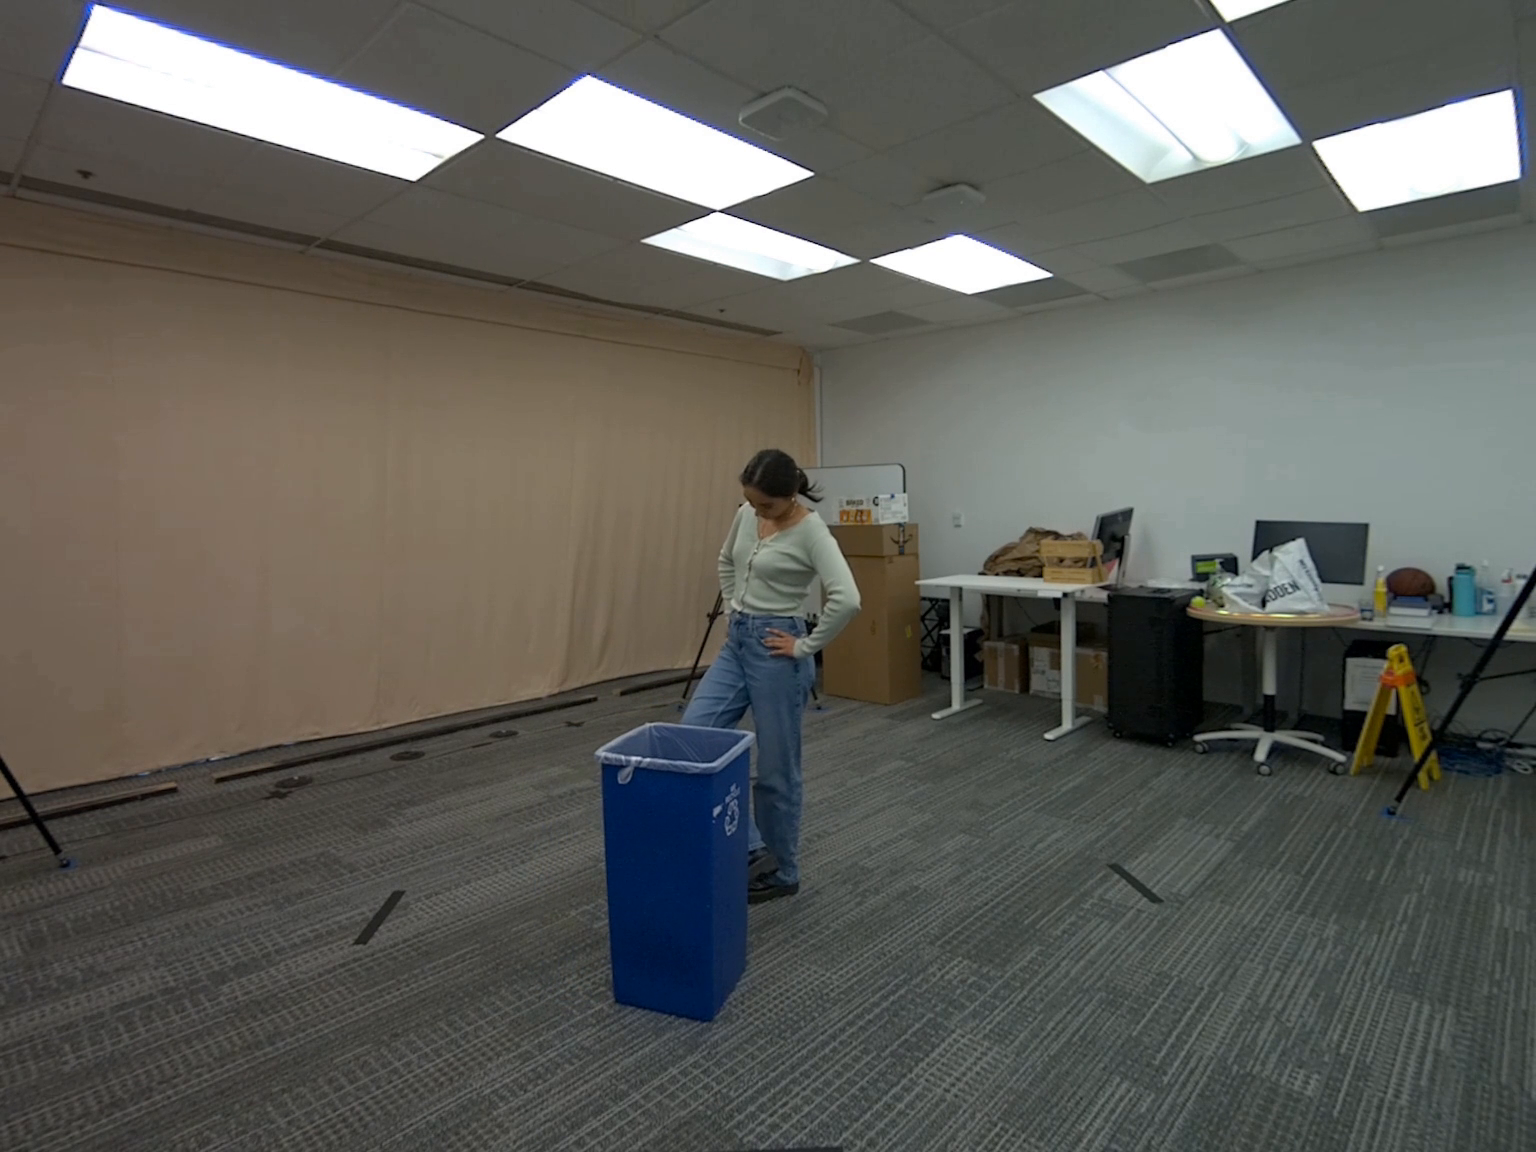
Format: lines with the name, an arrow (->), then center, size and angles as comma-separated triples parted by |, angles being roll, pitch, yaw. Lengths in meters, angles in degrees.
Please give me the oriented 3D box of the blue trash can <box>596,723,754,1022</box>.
blue trash can -> -0.247, 0.833, 2.437 | 0.382, 0.712, 0.371 | 0, 3, 19
